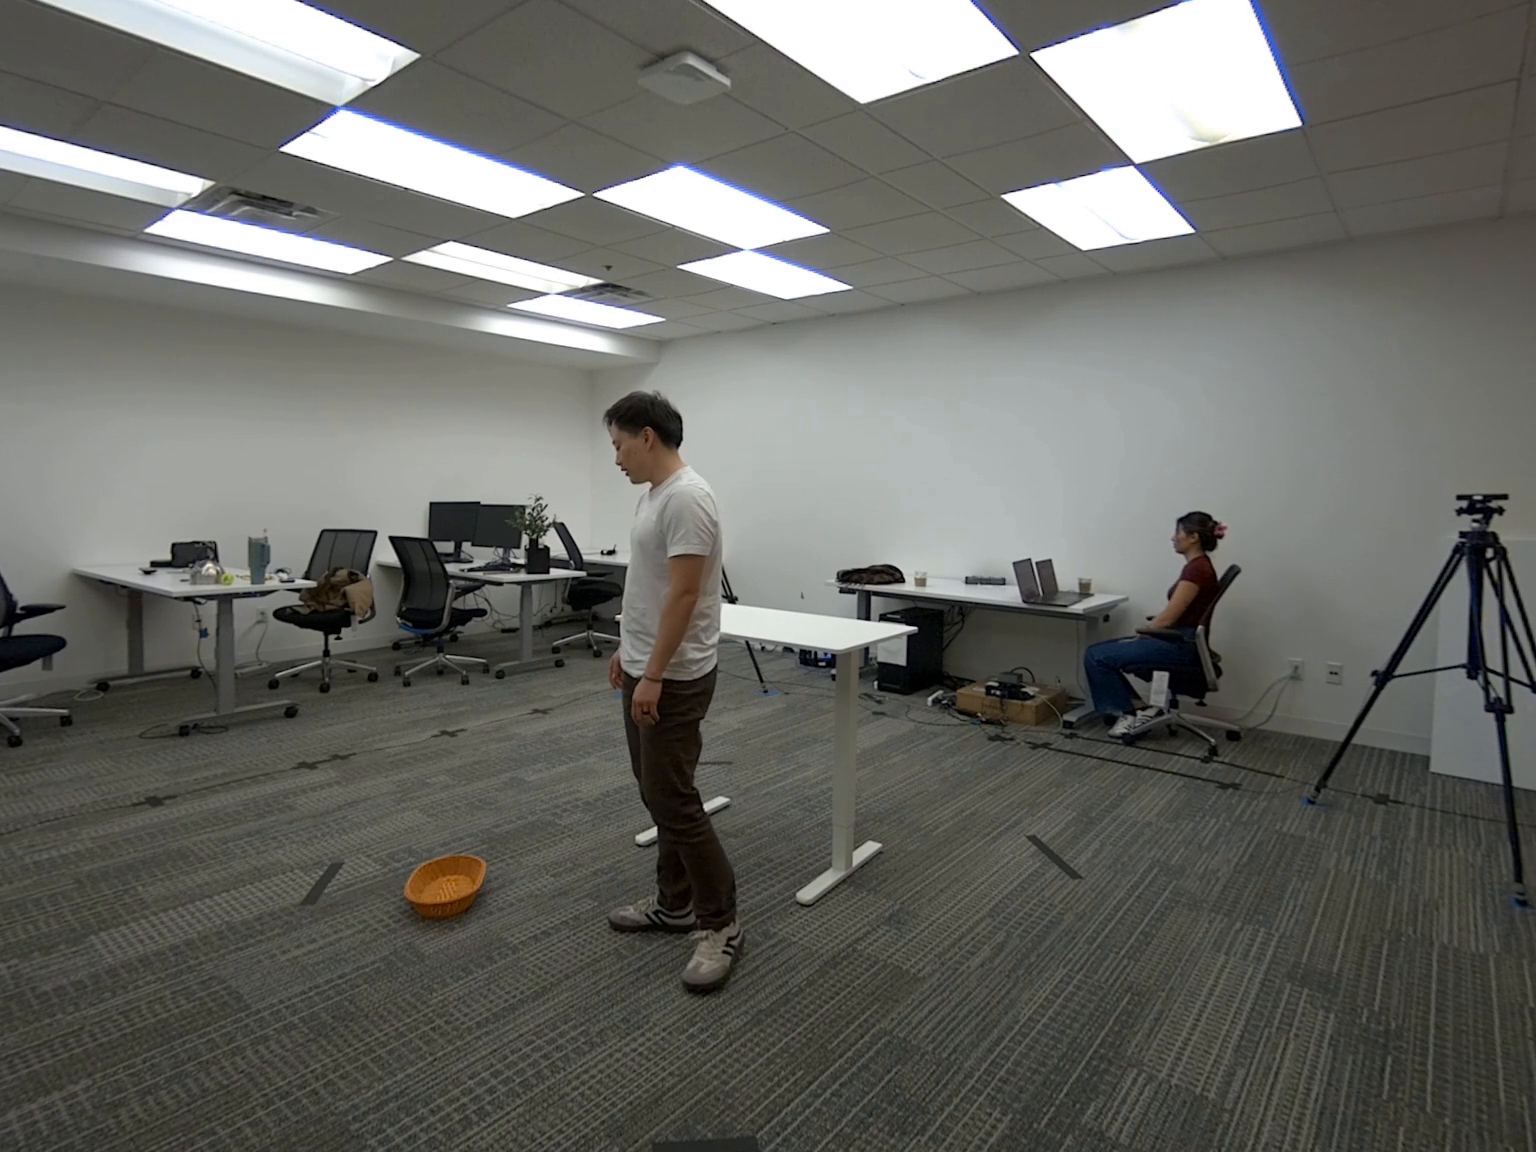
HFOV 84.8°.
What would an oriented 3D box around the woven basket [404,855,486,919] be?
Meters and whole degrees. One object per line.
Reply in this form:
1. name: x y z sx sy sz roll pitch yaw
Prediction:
1. woven basket: -1.092 1.043 2.855 0.251 0.073 0.354 -1 6 -5
